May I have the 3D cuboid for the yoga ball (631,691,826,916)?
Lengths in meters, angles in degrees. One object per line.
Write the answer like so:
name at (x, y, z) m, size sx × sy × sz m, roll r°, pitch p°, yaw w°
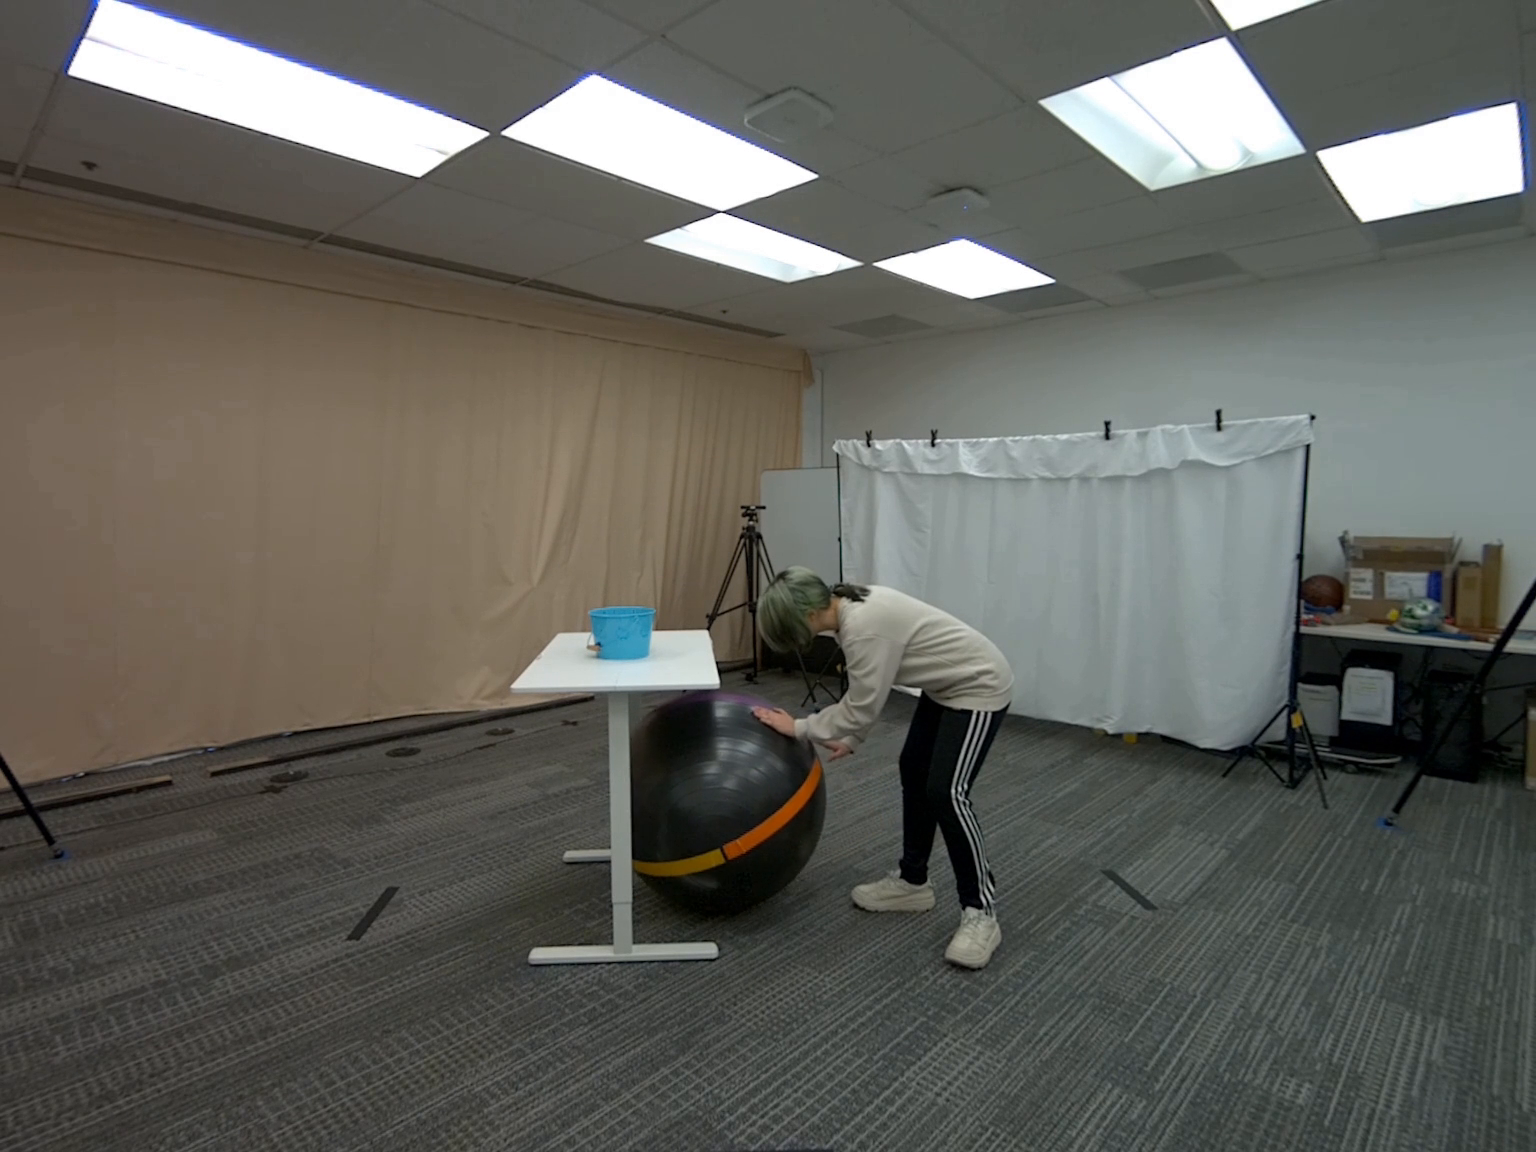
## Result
yoga ball at (-0.172, 0.779, 2.970) m, size 0.757 × 0.756 × 0.760 m, roll 0°, pitch 4°, yaw -2°
